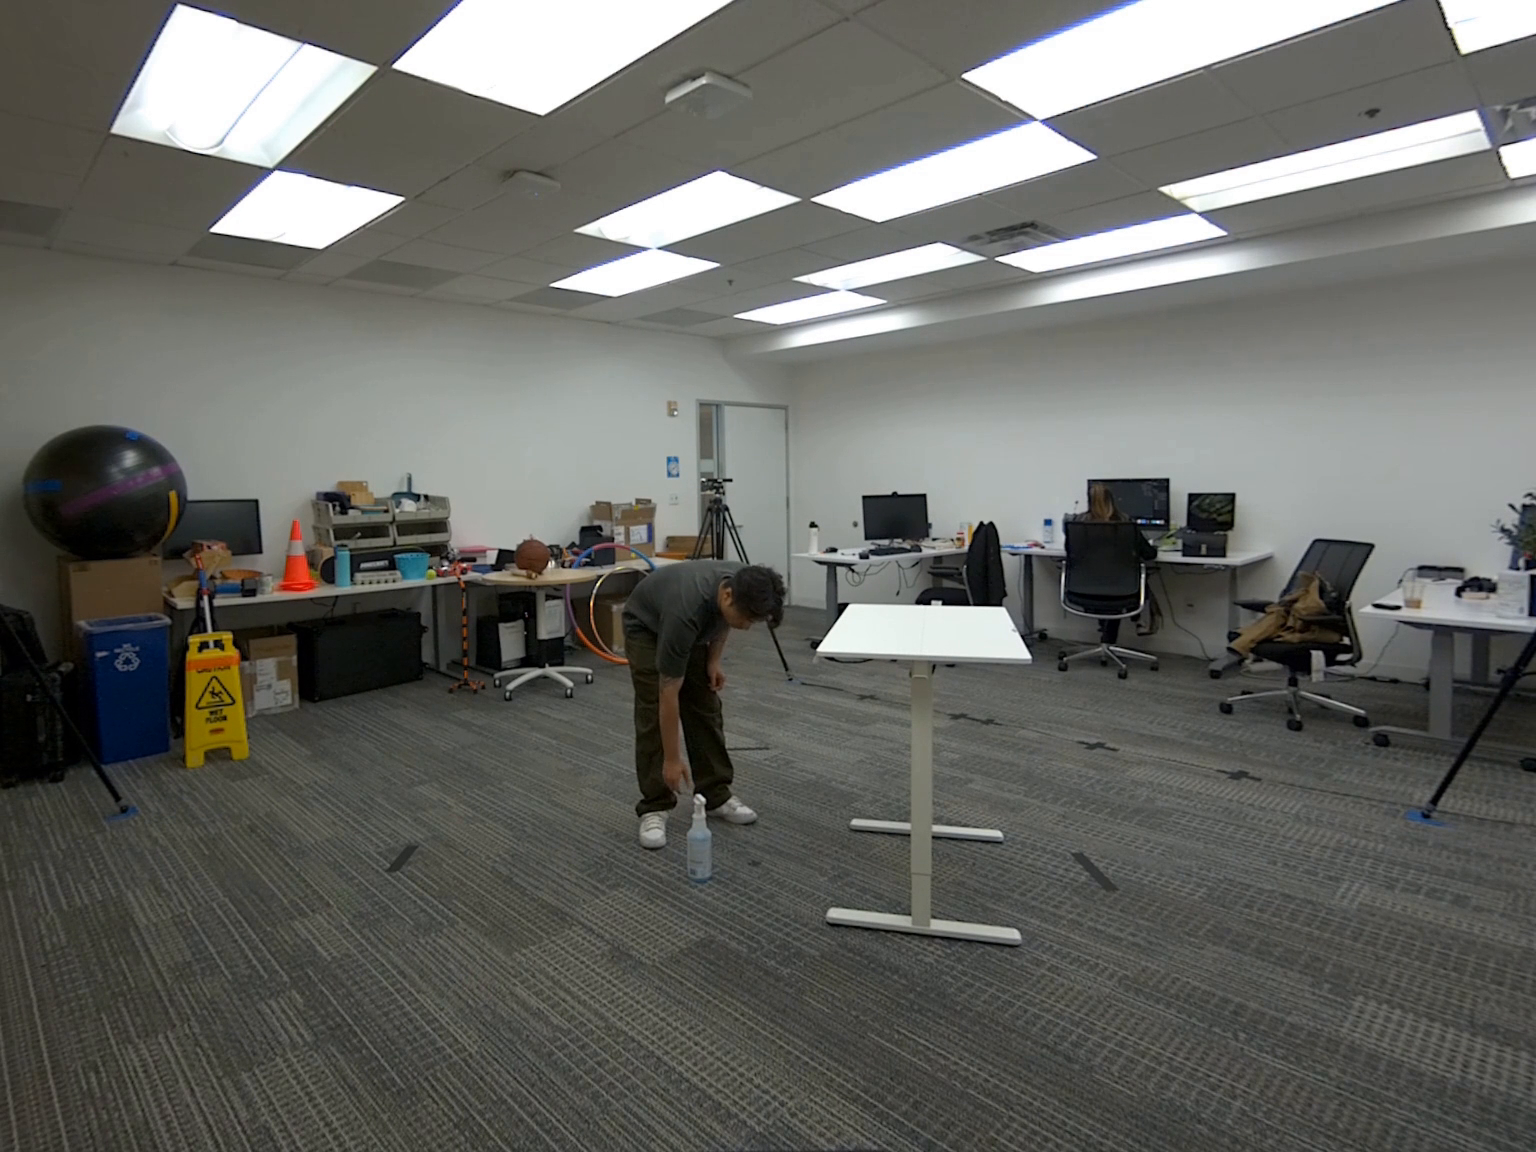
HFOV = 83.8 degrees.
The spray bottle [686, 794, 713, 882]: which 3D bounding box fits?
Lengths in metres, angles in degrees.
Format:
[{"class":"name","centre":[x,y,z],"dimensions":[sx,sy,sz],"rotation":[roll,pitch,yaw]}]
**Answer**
[{"class":"spray bottle","centre":[-0.240,0.918,2.995],"dimensions":[0.087,0.296,0.090],"rotation":[1,5,1]}]
